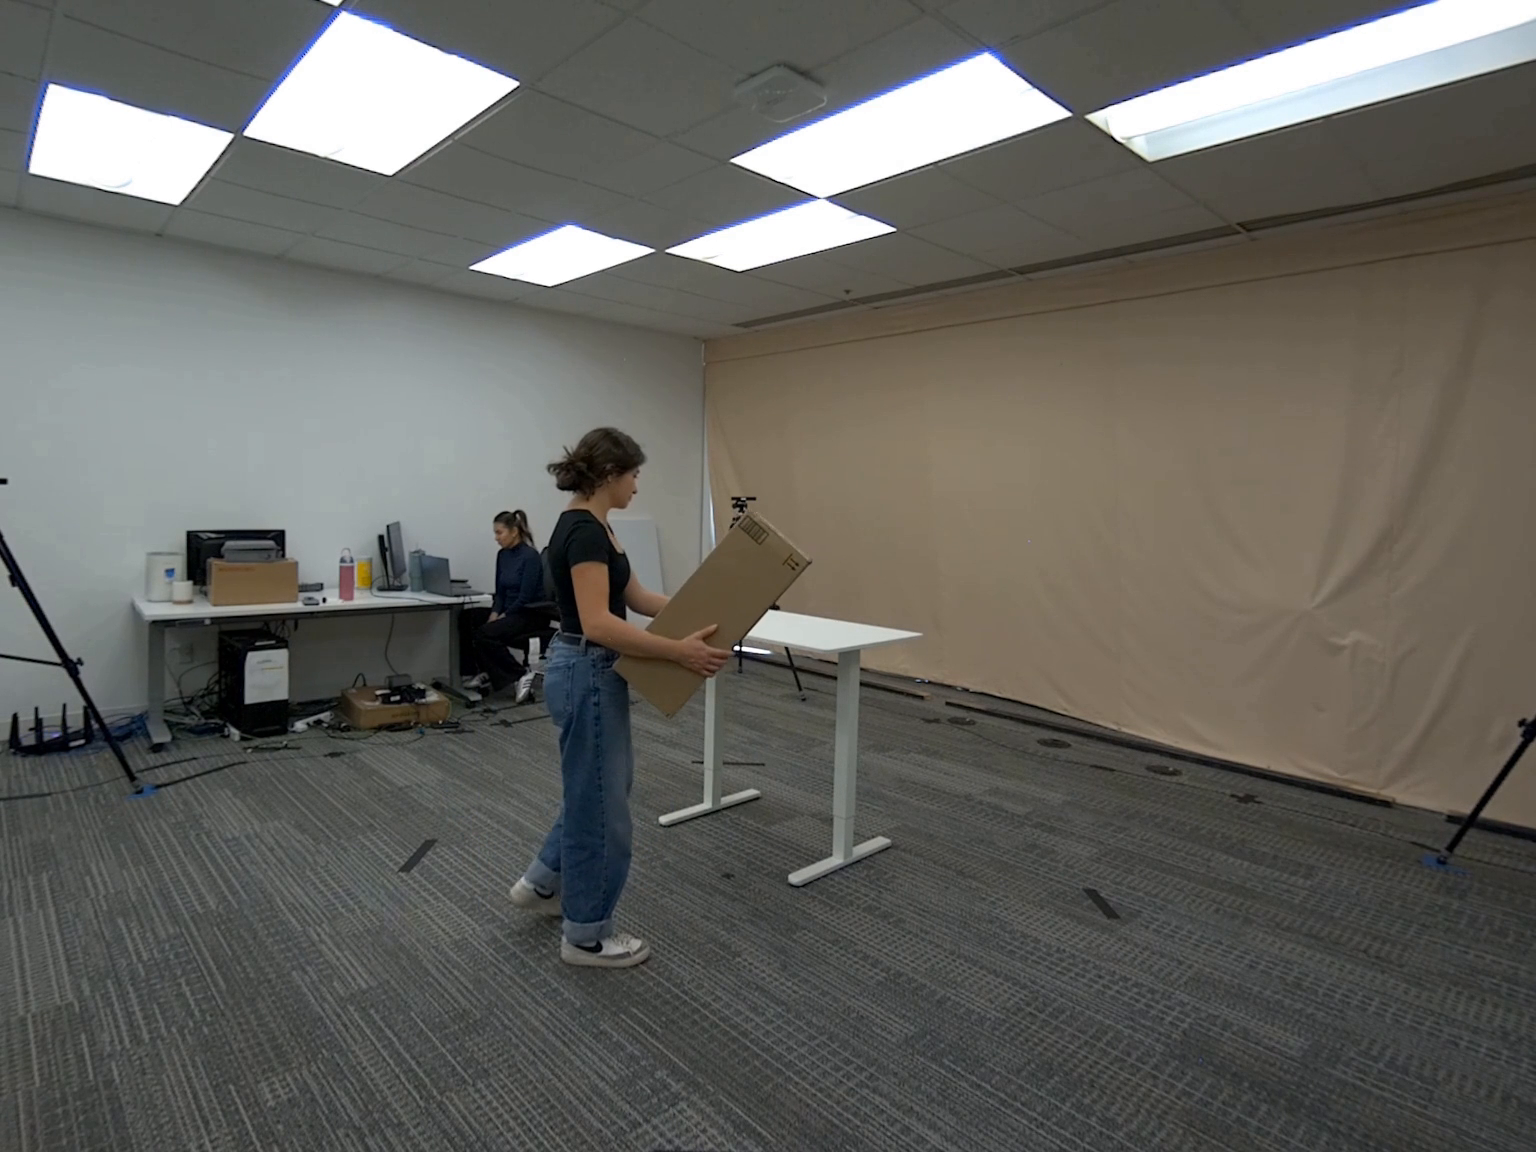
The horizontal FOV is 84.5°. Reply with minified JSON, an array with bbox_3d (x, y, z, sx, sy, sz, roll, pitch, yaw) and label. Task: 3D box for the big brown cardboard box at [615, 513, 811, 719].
[{"bbox_3d":[-0.149,0.091,2.433,0.233,0.589,0.417,41,5,-1],"label":"big brown cardboard box"}]
